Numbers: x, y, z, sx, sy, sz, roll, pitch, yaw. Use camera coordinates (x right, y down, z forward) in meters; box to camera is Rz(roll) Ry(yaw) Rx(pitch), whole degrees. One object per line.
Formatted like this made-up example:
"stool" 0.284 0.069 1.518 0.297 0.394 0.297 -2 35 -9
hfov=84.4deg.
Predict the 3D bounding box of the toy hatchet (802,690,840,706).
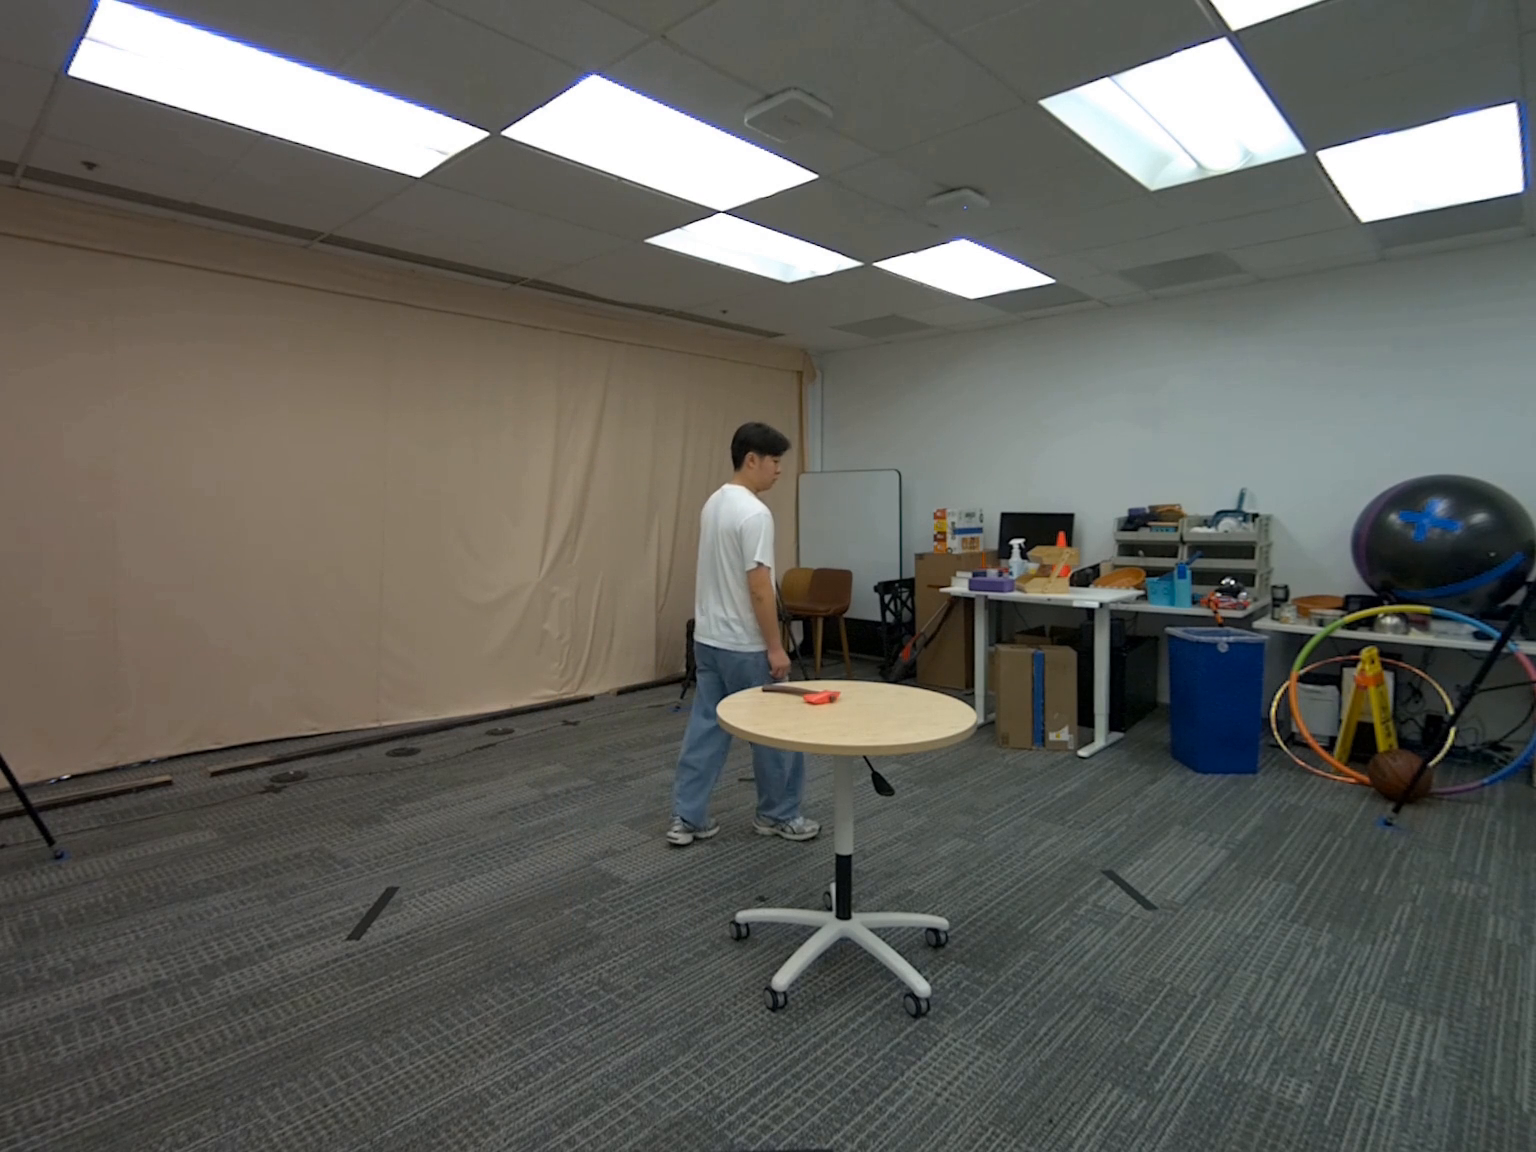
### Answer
"toy hatchet" 0.093 0.378 2.658 0.277 0.029 0.128 0 9 29
